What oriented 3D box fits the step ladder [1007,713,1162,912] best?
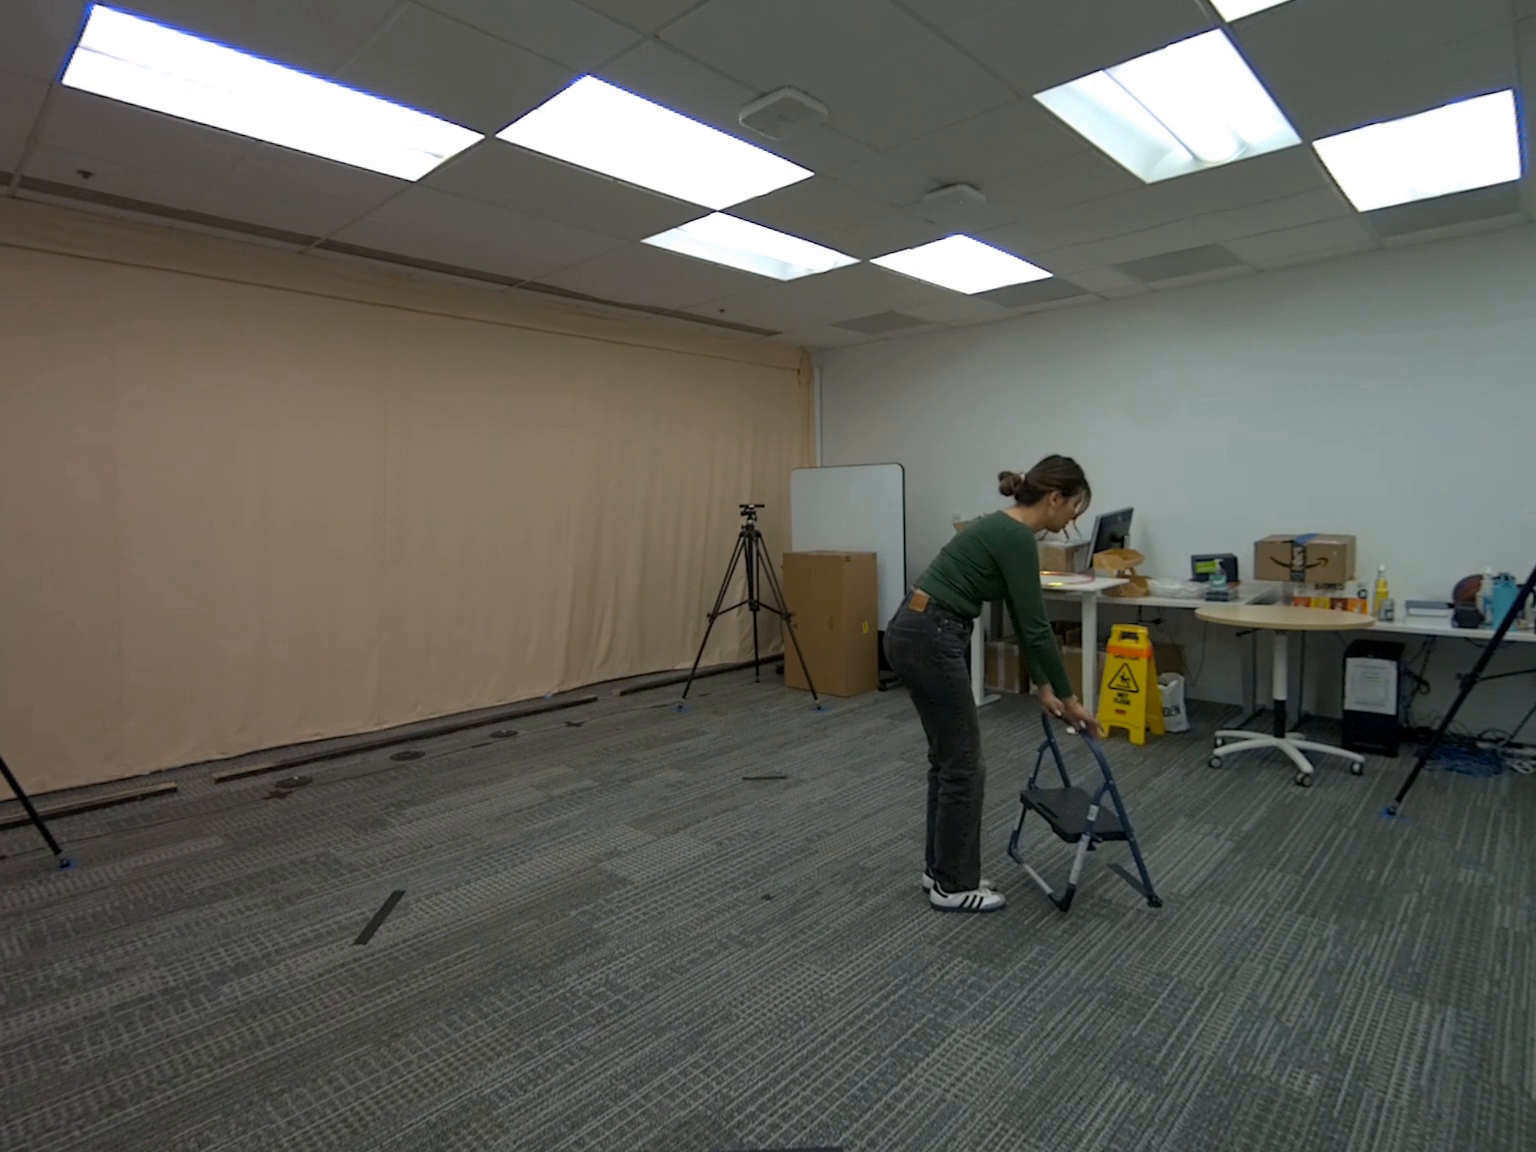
[{"bbox_3d":[1.102,0.772,2.943,0.346,0.603,0.436,-3,7,-9],"label":"step ladder"}]
